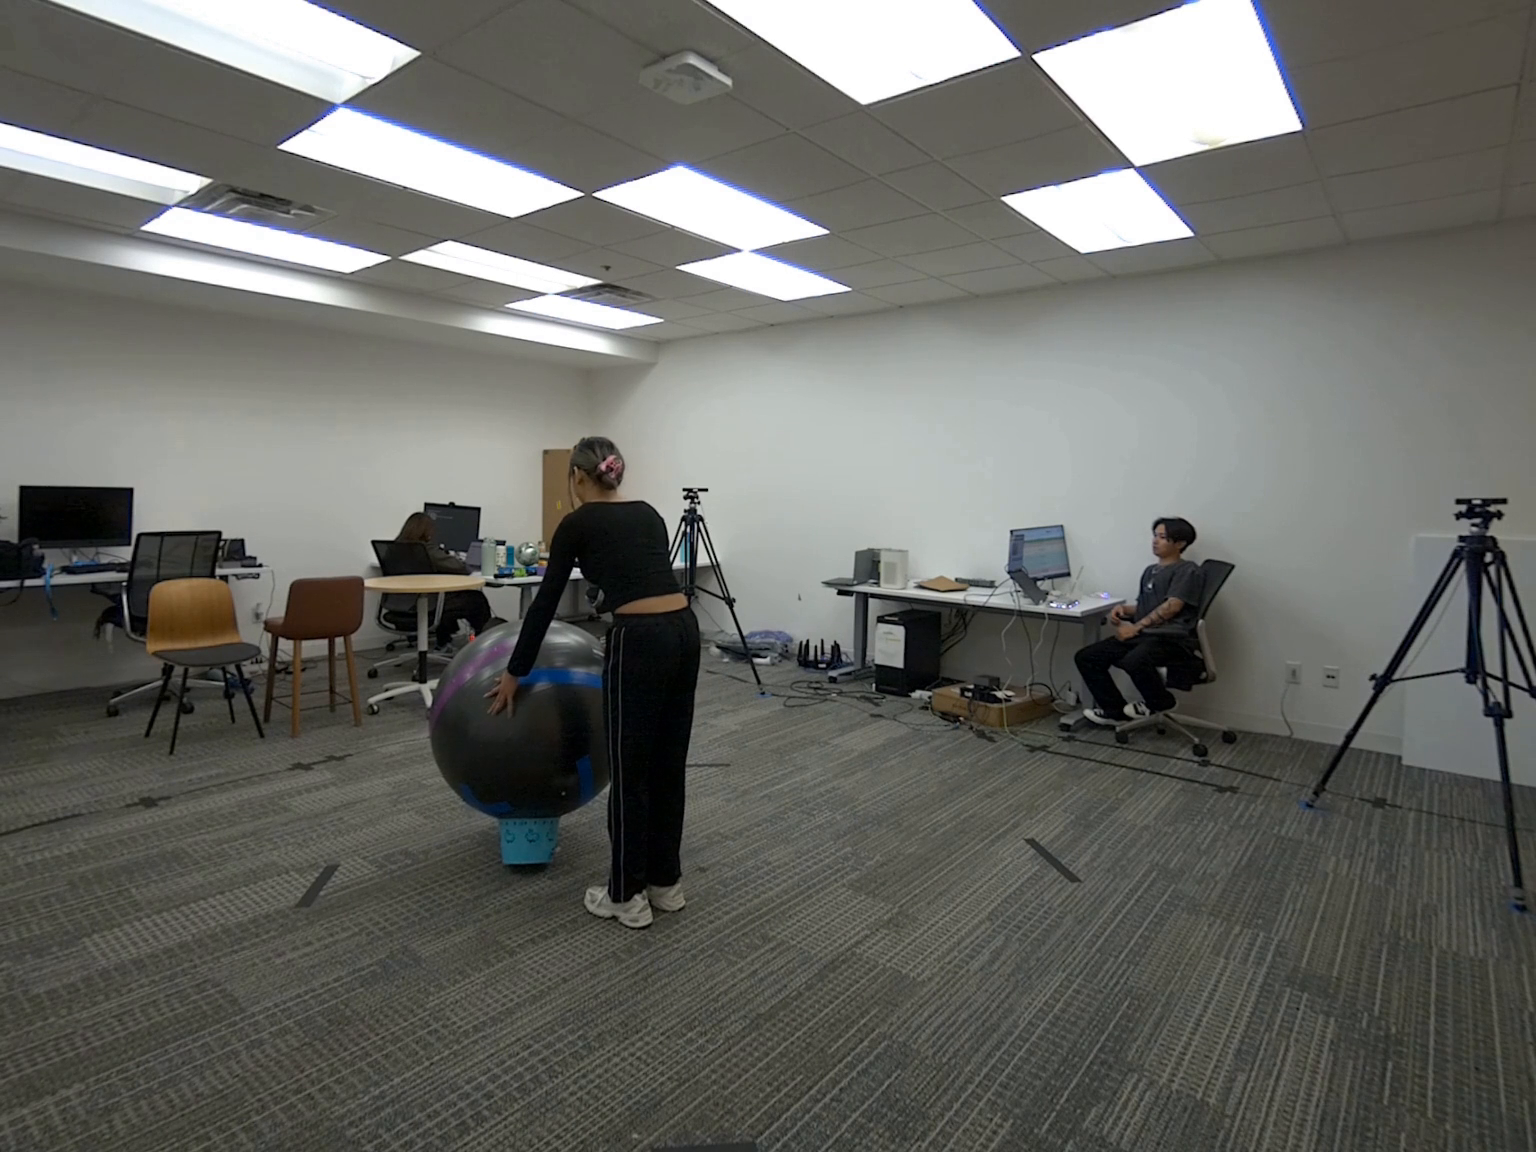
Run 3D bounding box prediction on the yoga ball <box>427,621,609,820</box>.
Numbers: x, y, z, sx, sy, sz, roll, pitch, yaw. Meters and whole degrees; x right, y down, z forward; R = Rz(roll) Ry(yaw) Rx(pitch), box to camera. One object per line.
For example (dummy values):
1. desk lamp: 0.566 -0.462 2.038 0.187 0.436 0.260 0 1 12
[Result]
1. yoga ball: -0.910 0.545 3.243 0.757 0.755 0.762 1 4 -2
